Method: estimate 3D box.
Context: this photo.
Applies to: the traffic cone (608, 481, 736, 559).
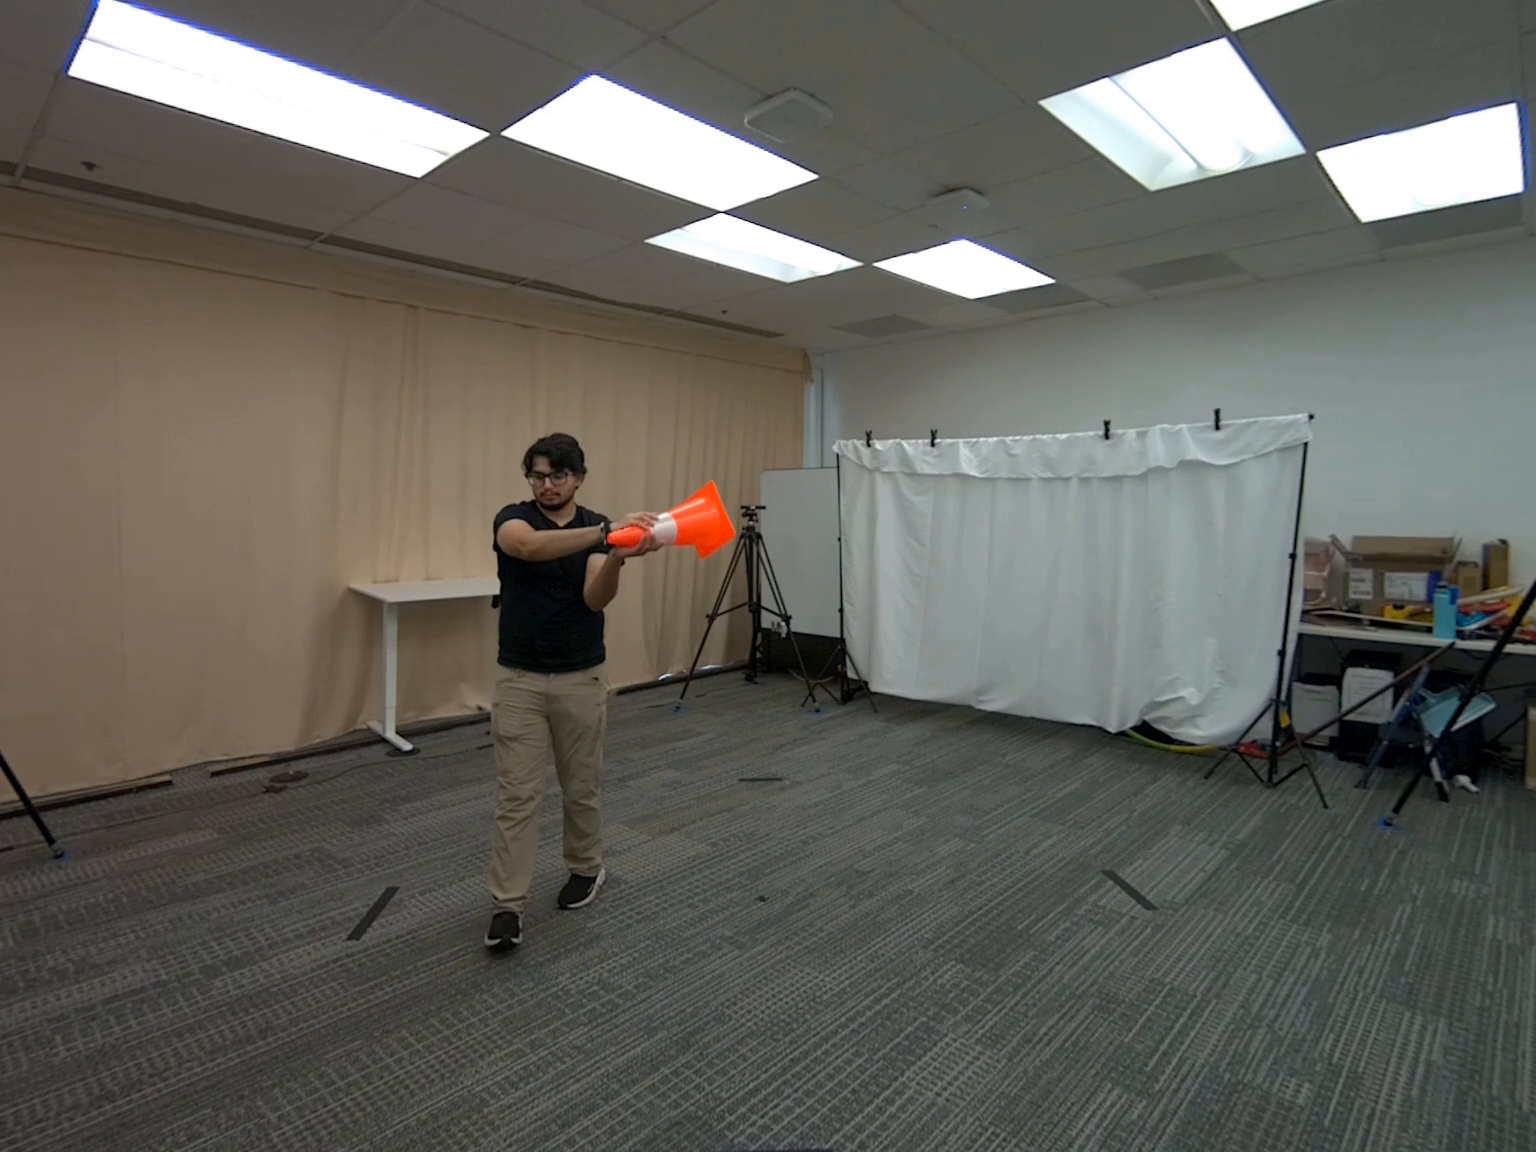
[{"bbox_3d":[-0.320,-0.137,2.578,0.373,0.205,0.208,-15,-12,-42],"label":"traffic cone"}]
